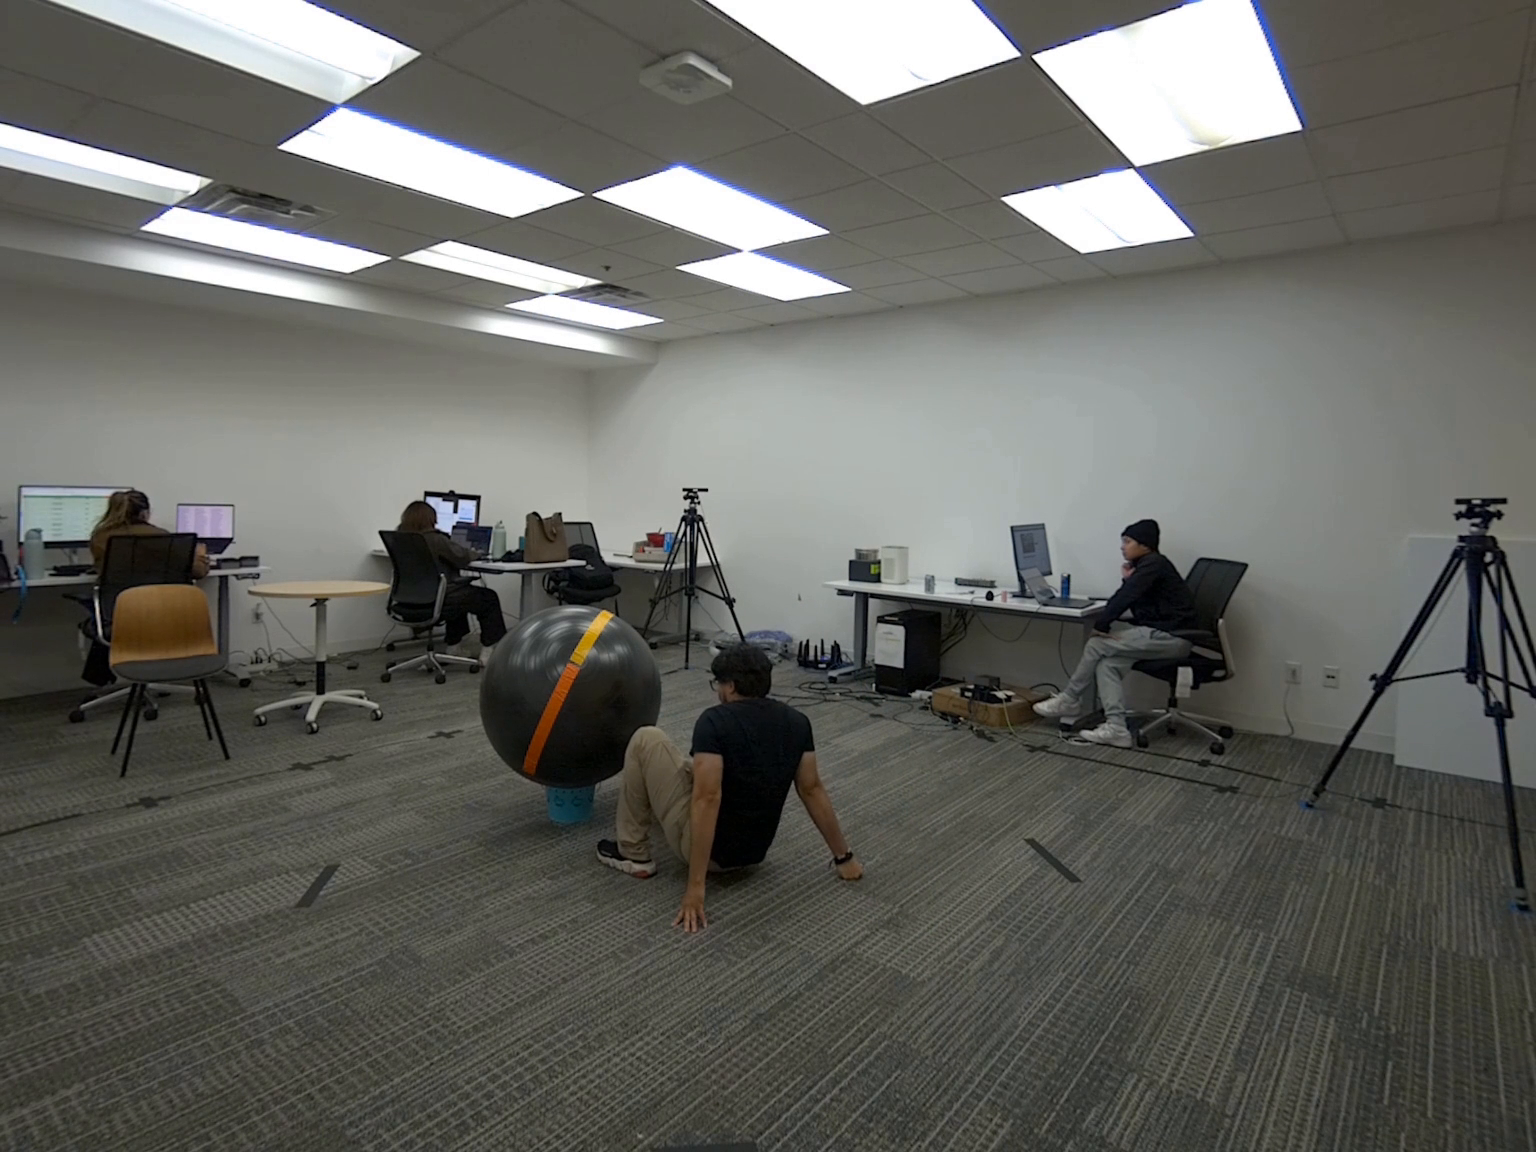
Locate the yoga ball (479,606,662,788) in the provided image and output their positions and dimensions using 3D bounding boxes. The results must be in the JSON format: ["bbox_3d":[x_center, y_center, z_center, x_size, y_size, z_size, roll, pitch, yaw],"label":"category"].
[{"bbox_3d":[-0.845,0.505,3.594,0.757,0.755,0.762,1,4,-2],"label":"yoga ball"}]
